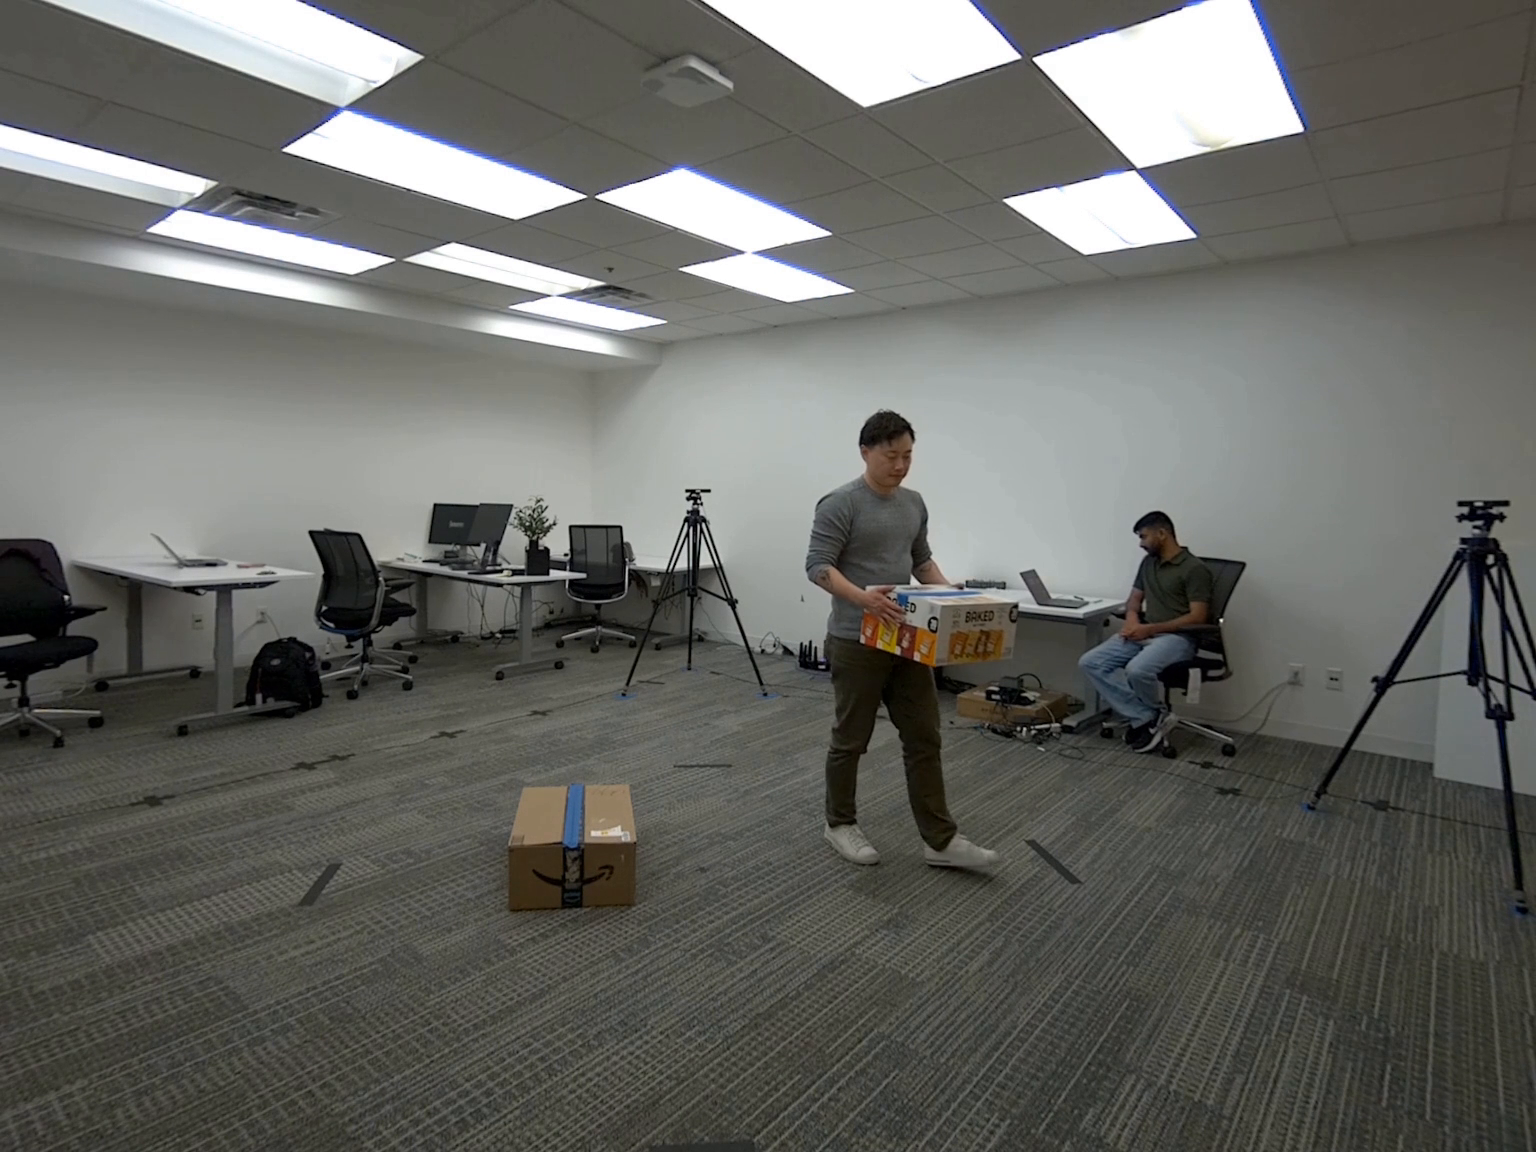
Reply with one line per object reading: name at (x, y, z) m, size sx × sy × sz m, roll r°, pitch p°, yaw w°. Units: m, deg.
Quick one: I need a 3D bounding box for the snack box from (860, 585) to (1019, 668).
snack box at (0.589, 0.157, 2.937) m, size 0.393 × 0.204 × 0.353 m, roll 0°, pitch 9°, yaw -37°
